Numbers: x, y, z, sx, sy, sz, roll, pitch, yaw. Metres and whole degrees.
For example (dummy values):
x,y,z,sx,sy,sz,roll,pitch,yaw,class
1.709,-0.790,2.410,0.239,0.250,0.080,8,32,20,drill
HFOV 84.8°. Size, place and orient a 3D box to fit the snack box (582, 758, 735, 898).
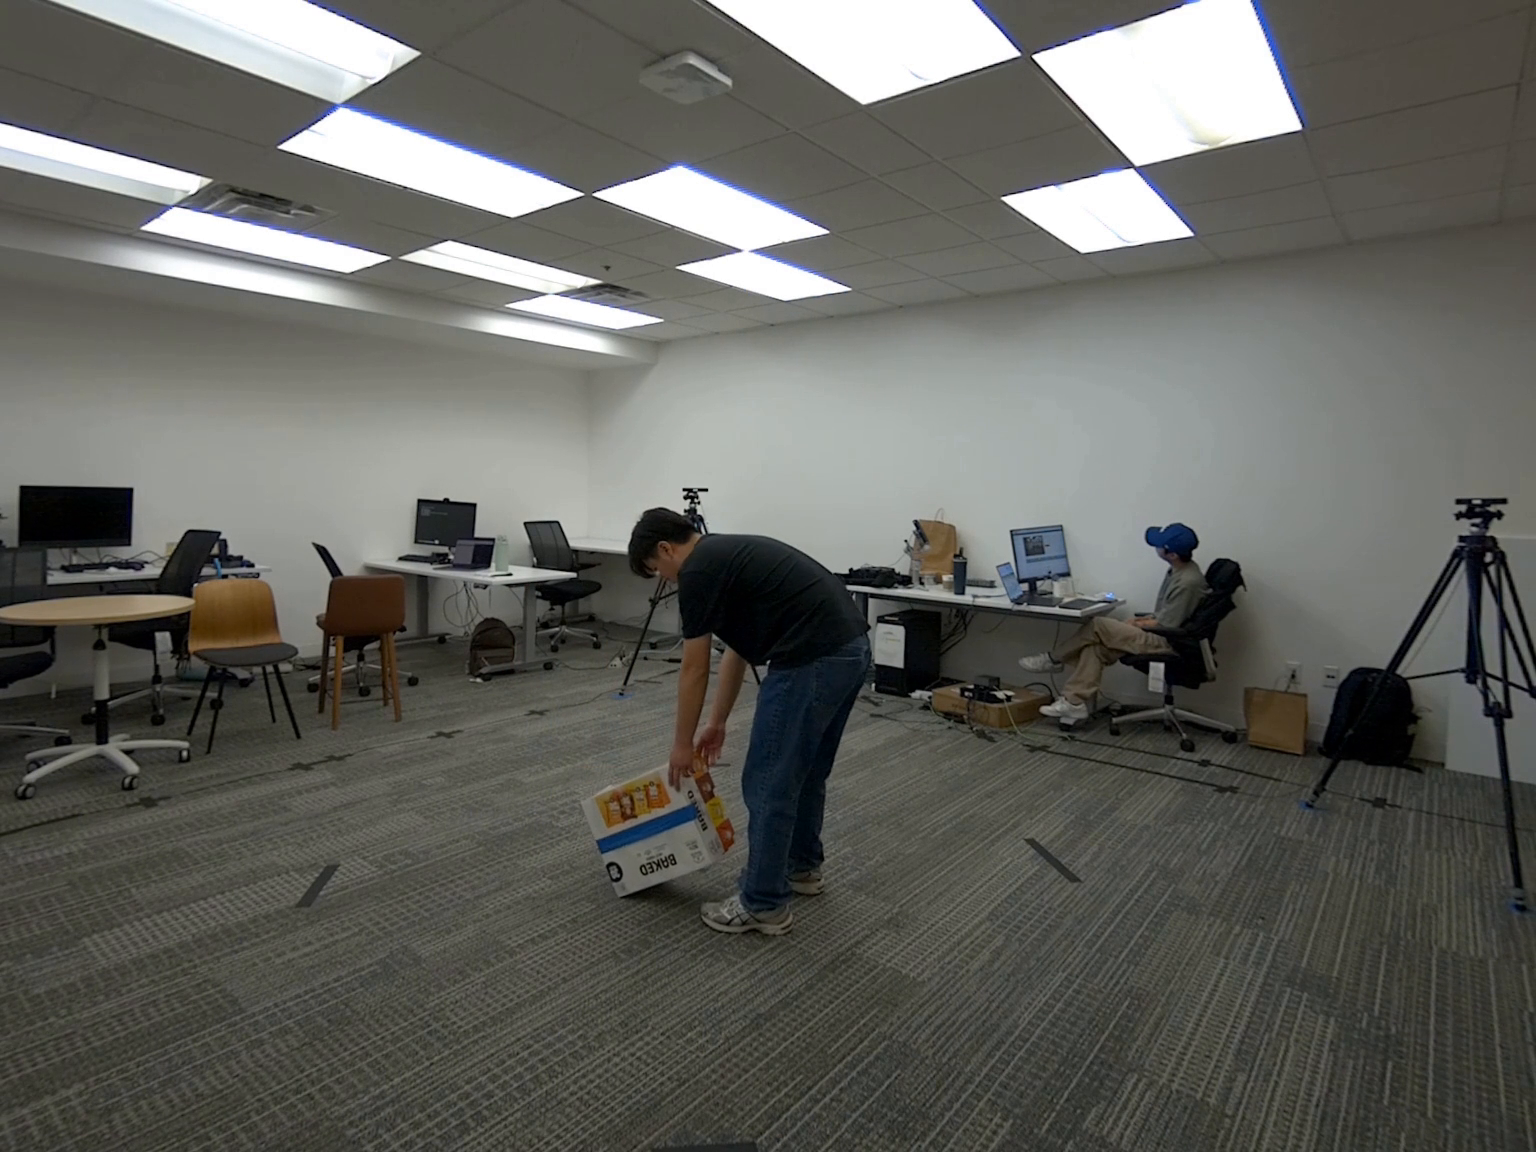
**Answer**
x,y,z,sx,sy,sz,roll,pitch,yaw,class
-0.389,0.842,2.920,0.409,0.344,0.201,-27,-8,22,snack box
